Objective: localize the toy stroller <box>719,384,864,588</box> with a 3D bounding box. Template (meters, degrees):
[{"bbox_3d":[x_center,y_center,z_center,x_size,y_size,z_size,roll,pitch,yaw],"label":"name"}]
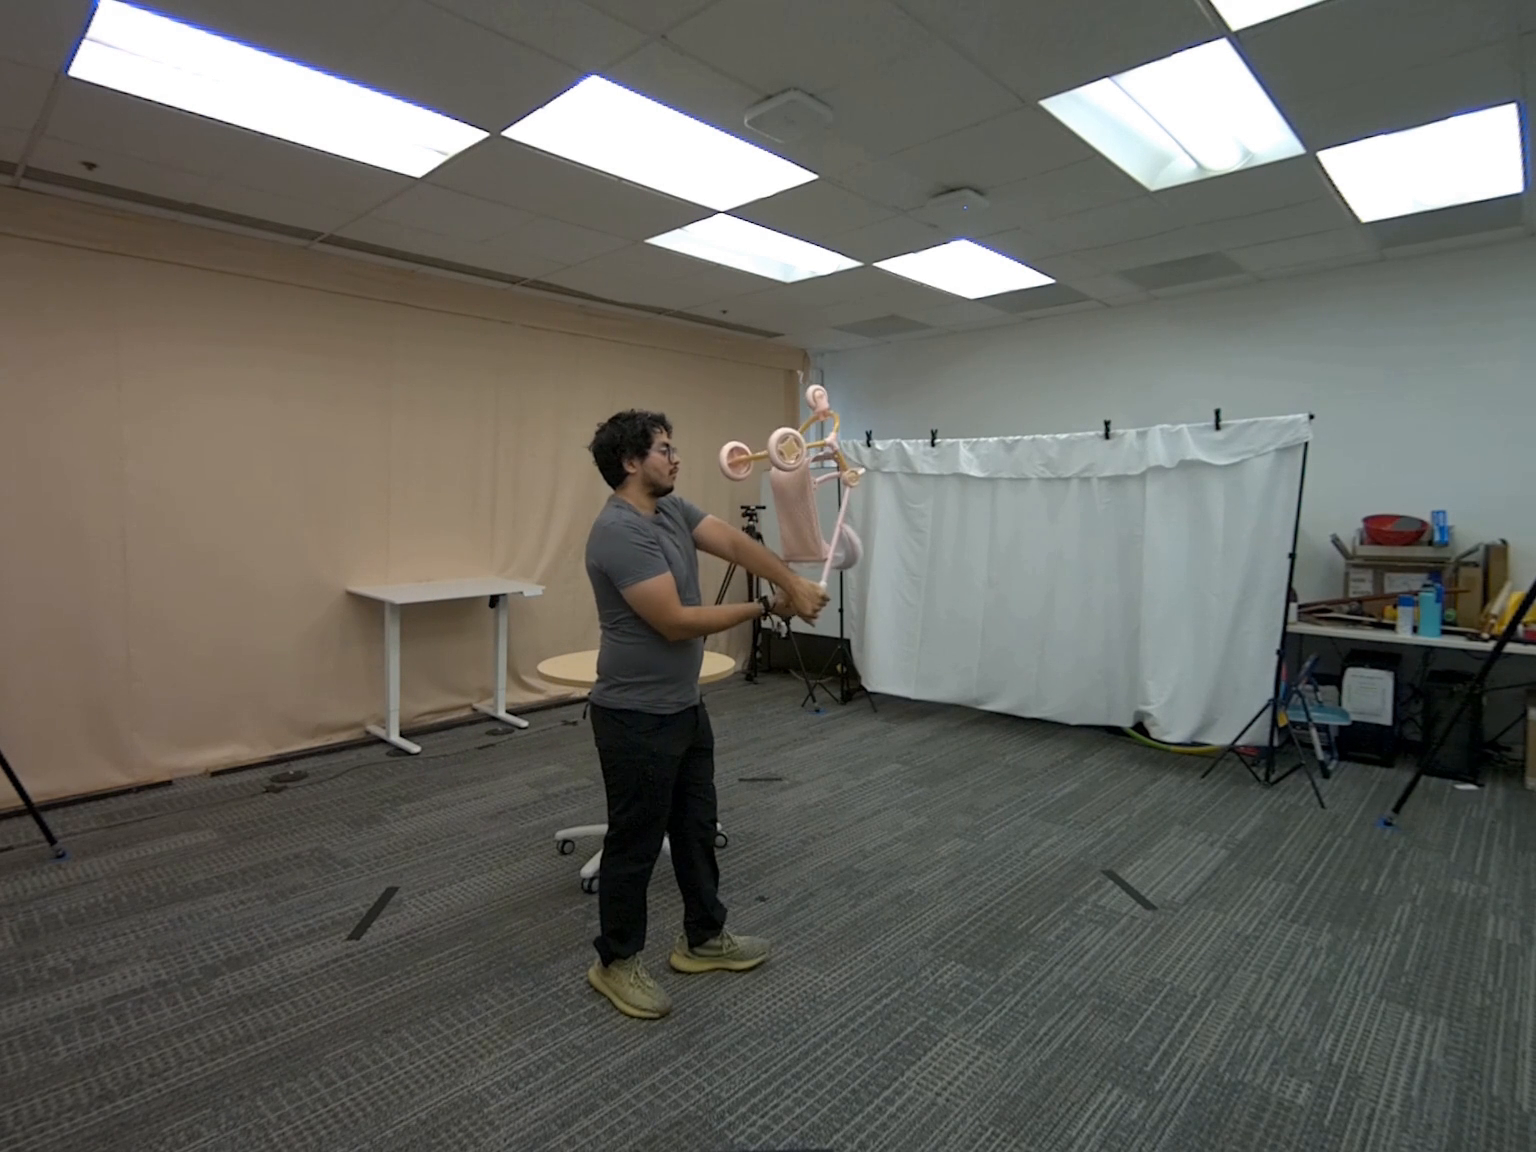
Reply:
[{"bbox_3d":[0.117,-0.223,2.288,0.335,0.530,0.289,-28,12,-33],"label":"toy stroller"}]
